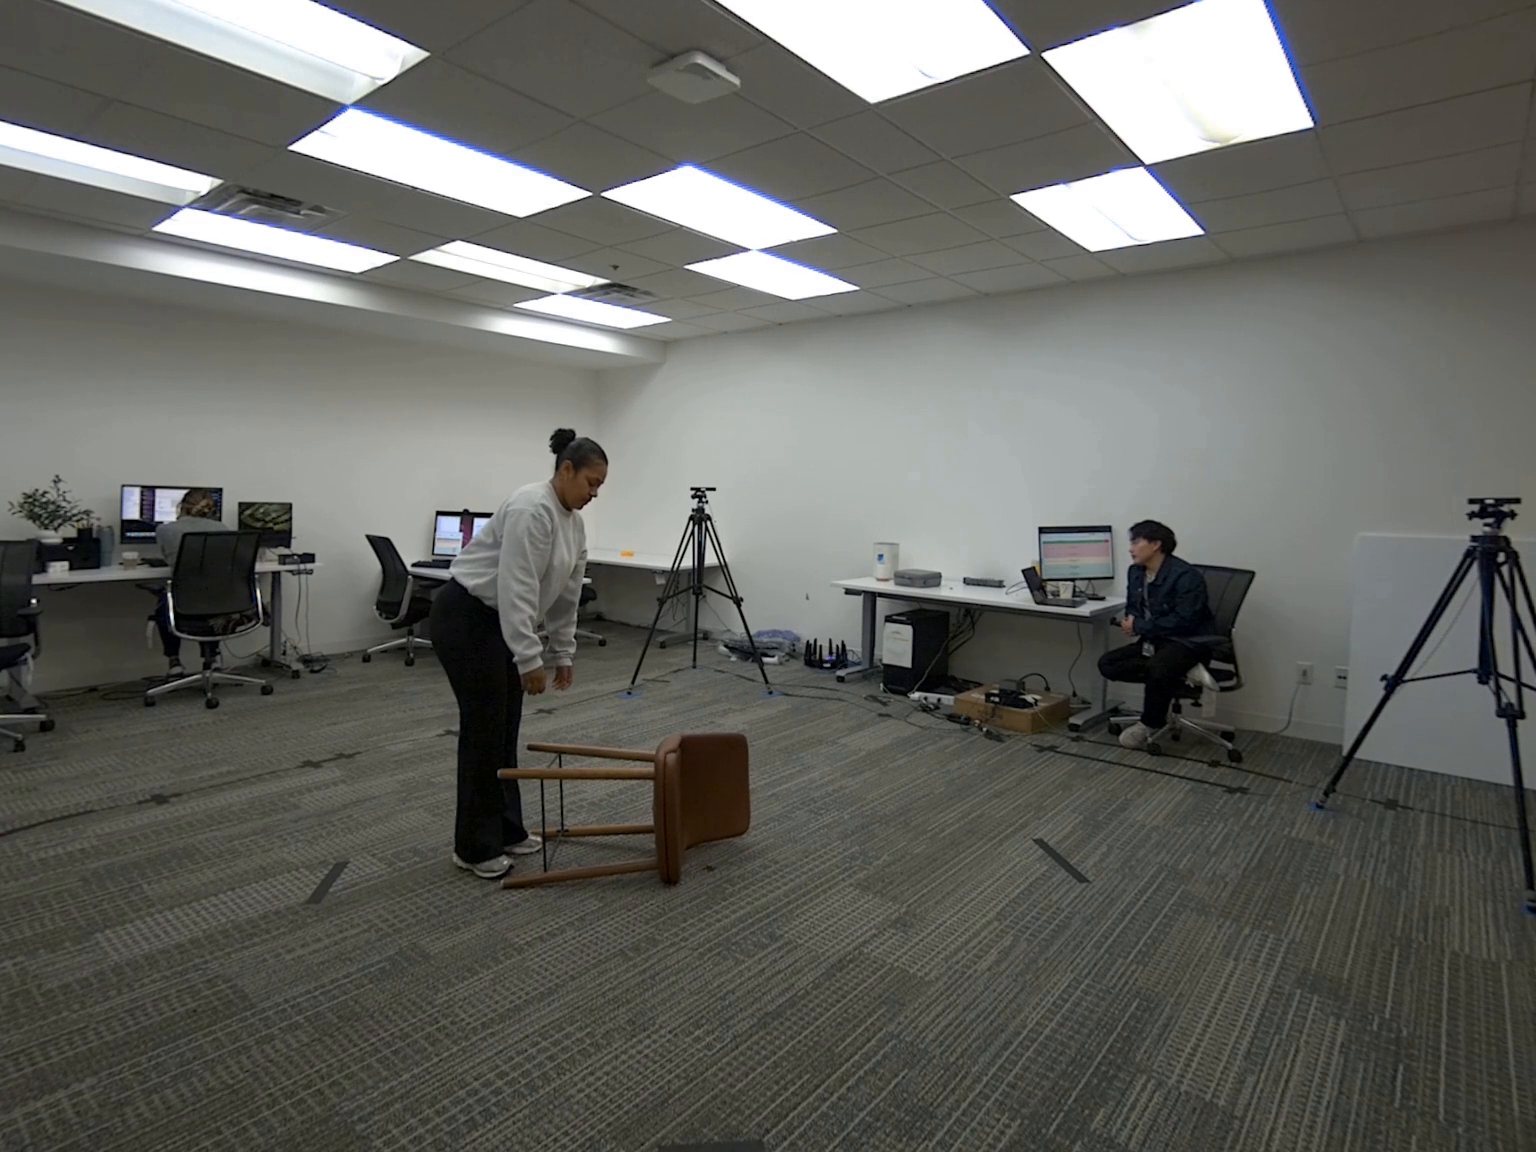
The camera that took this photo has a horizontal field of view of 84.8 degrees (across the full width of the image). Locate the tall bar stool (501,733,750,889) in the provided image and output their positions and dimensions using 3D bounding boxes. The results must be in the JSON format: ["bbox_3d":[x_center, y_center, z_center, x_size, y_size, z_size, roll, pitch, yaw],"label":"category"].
[{"bbox_3d":[-0.508,0.852,3.139,0.888,0.456,0.469,-2,2,-3],"label":"tall bar stool"}]
